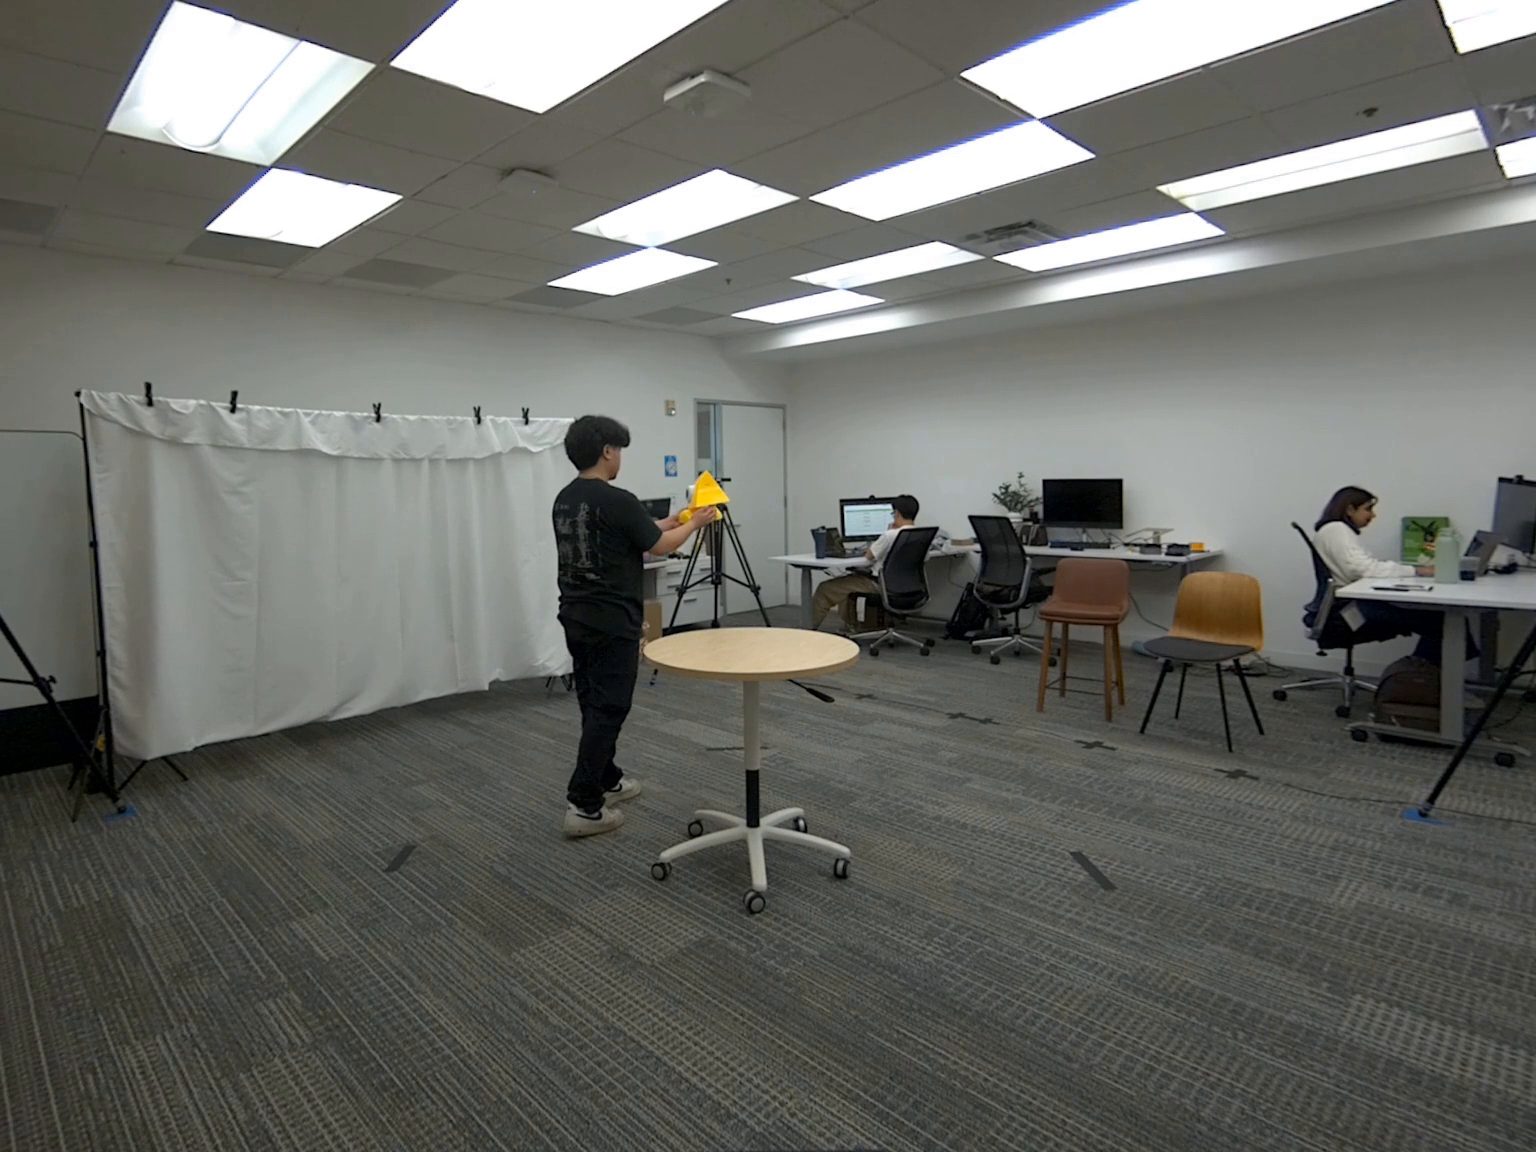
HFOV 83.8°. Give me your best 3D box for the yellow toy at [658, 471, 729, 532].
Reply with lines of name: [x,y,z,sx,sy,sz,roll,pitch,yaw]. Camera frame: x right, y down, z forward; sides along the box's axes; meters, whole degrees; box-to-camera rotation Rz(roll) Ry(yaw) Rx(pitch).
yellow toy: [-0.314,-0.367,3.909,0.199,0.229,0.200,6,13,44]
